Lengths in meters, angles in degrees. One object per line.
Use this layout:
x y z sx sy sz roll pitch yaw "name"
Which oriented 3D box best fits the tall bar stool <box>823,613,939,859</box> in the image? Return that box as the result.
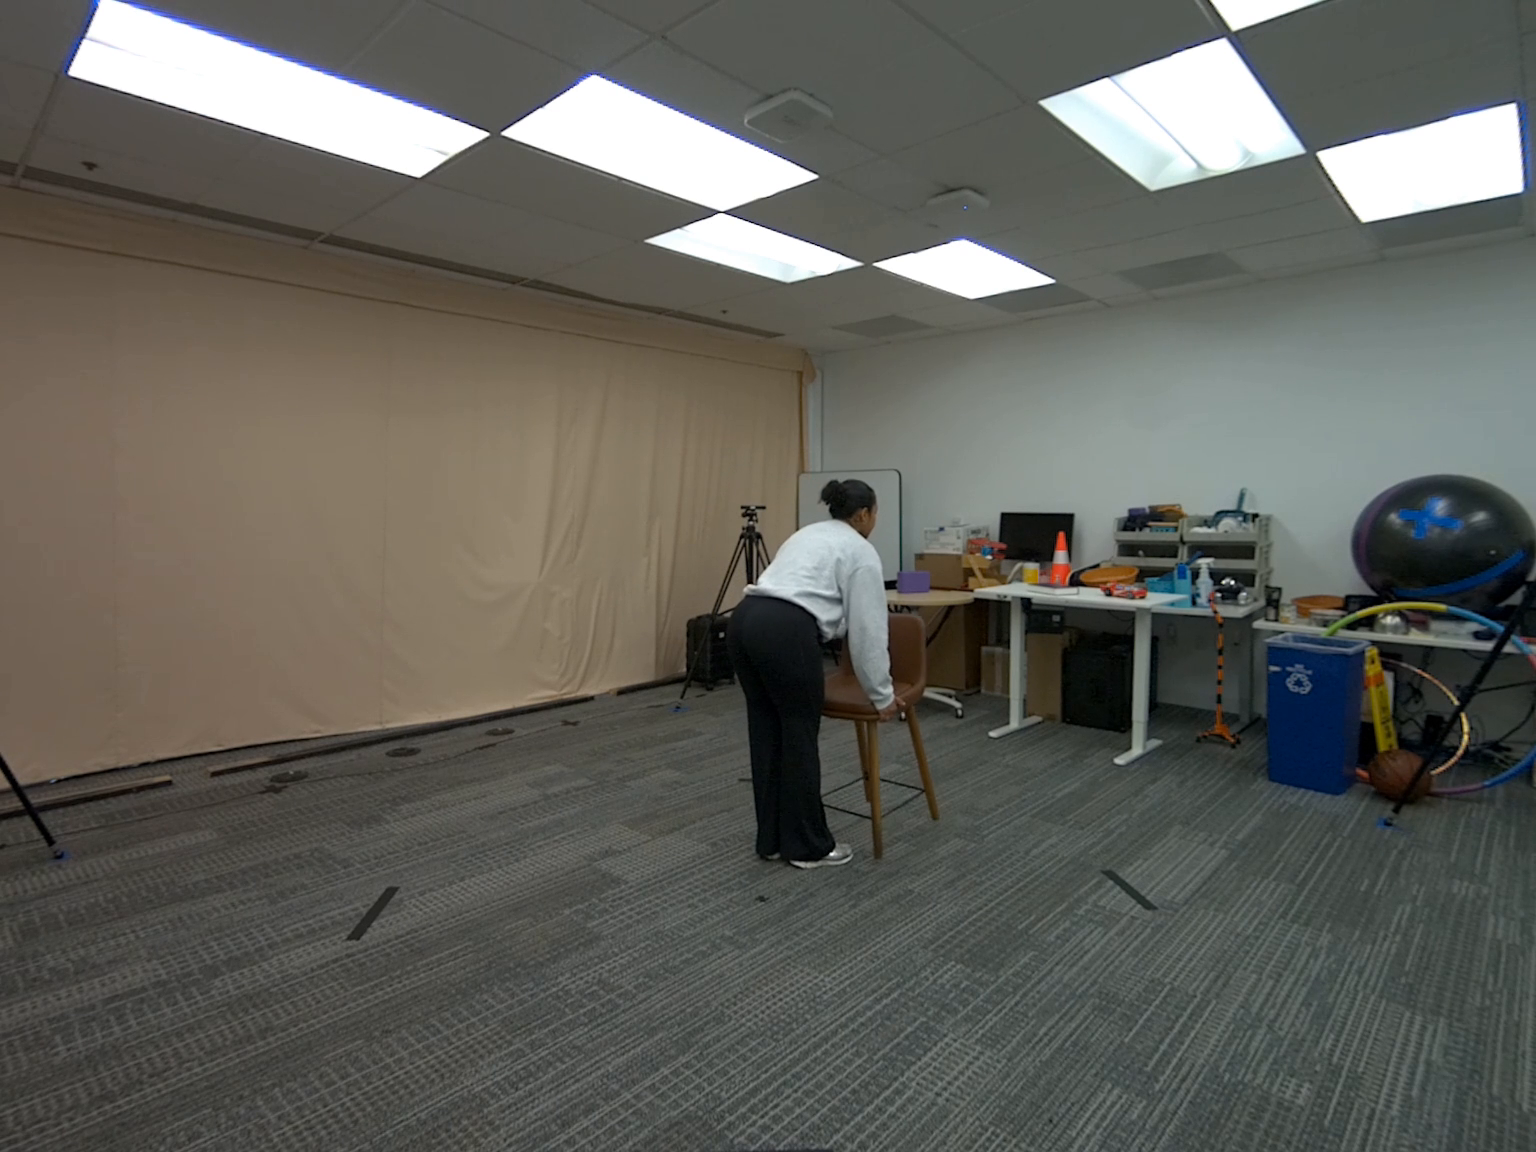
0.407 0.626 3.520 0.454 0.887 0.471 -8 6 -44 "tall bar stool"
